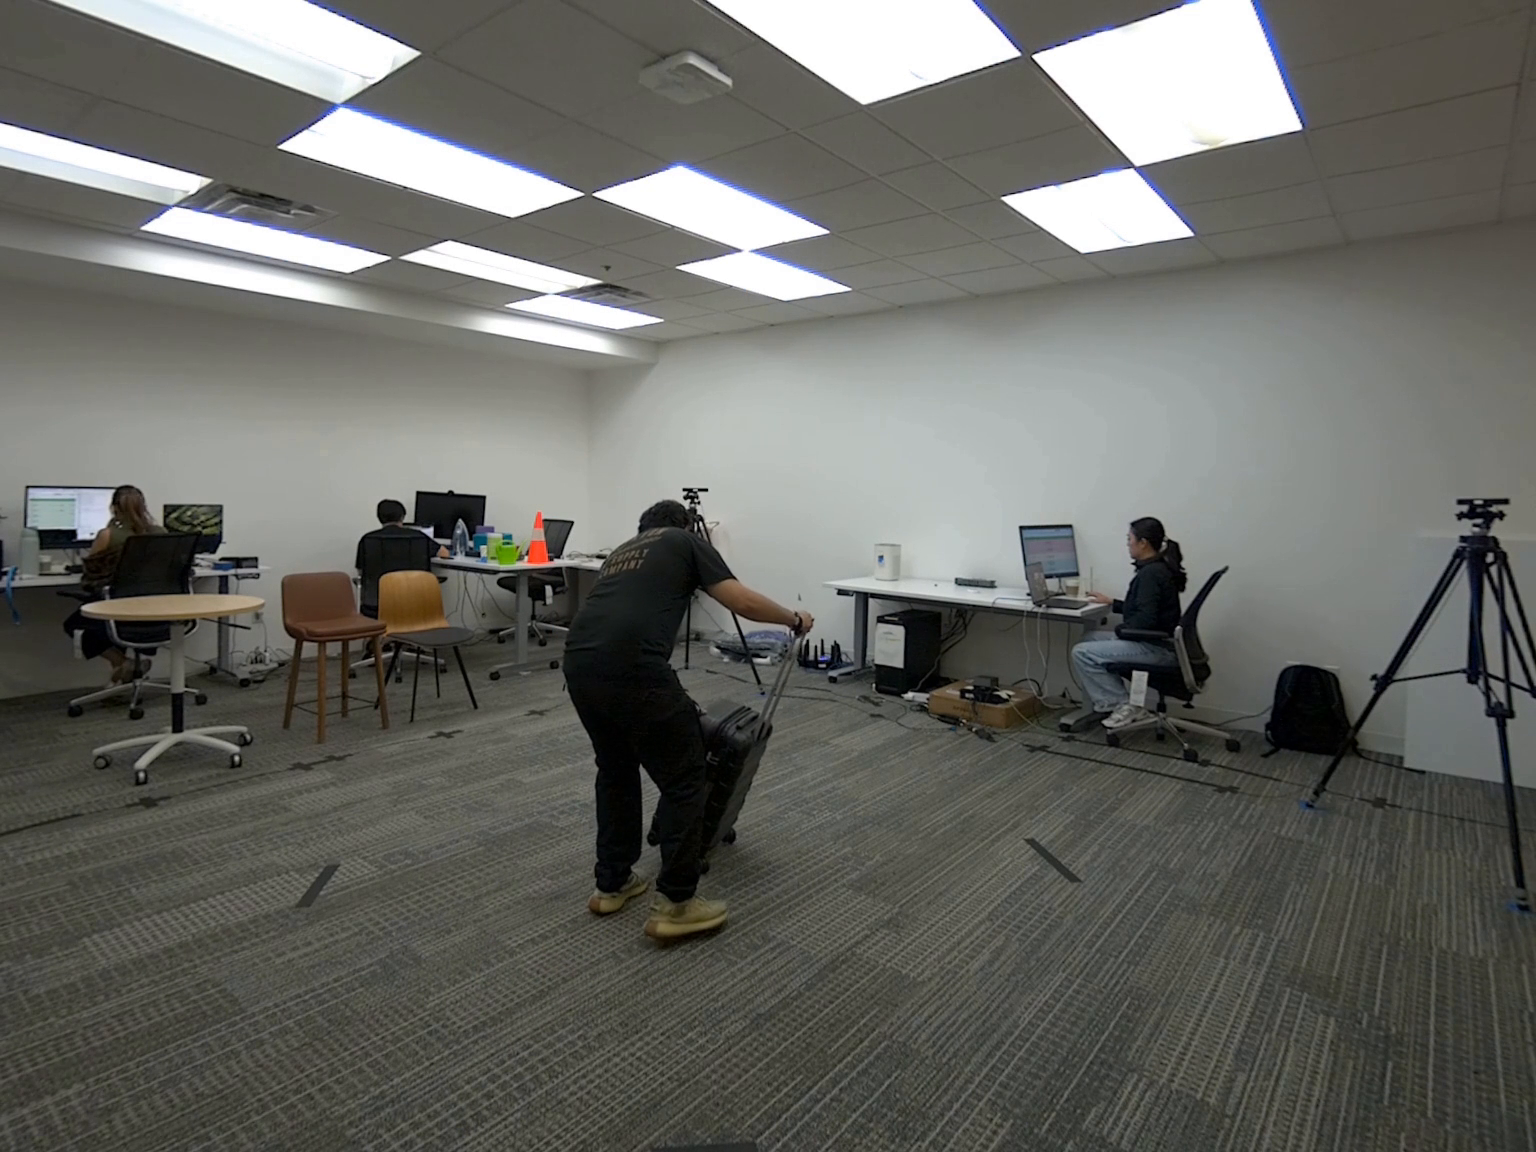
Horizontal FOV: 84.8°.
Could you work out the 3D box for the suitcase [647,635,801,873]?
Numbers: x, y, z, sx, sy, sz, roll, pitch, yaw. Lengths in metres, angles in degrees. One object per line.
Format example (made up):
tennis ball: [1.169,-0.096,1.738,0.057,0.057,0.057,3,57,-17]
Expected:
suitcase: [-0.142,0.569,3.186,0.263,0.974,0.377,23,10,17]
